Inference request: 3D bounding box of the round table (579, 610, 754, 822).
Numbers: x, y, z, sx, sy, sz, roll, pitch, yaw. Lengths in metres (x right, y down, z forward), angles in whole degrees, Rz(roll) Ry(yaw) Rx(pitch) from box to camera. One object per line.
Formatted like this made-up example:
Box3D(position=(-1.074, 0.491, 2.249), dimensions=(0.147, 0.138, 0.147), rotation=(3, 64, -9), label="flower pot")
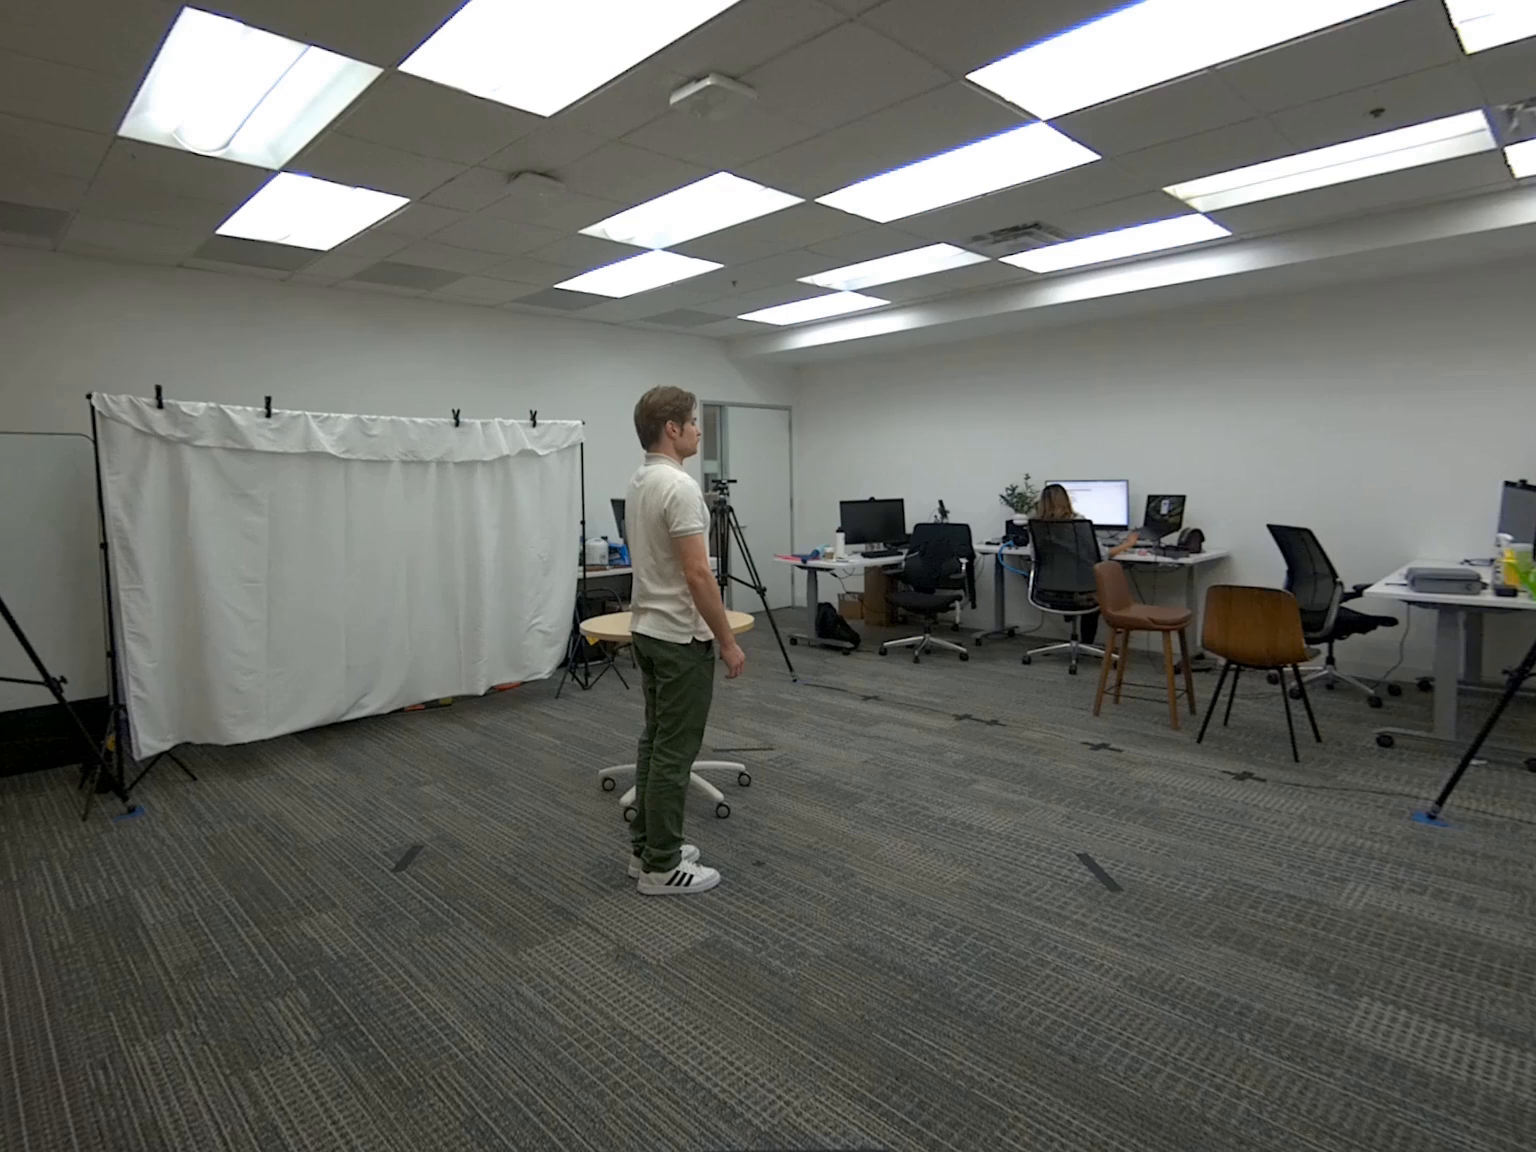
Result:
Box3D(position=(-0.432, 0.594, 3.793), dimensions=(0.763, 0.791, 0.767), rotation=(-2, 4, -2), label="round table")
